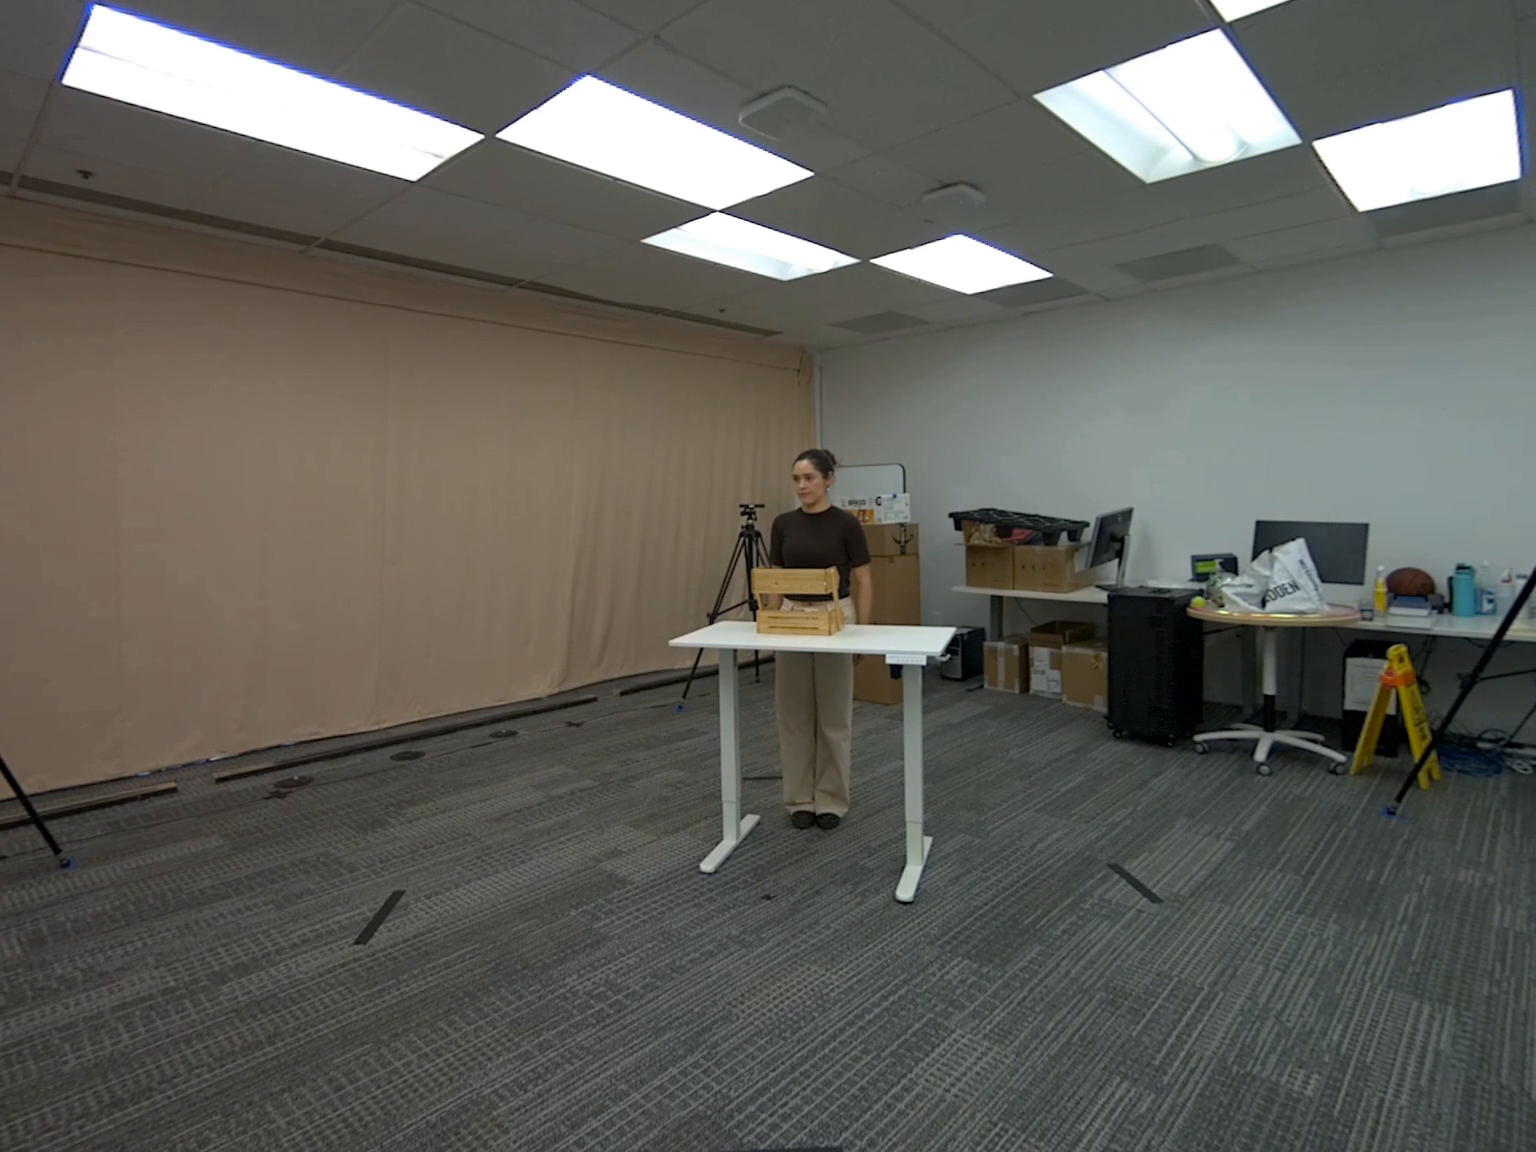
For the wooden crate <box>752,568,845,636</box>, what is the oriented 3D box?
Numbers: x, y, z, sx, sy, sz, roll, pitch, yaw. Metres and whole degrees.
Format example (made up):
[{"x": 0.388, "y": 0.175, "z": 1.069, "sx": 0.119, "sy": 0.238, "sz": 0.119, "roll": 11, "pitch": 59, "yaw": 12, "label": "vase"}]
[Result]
[{"x": 0.127, "y": 0.090, "z": 3.378, "sx": 0.331, "sy": 0.273, "sz": 0.296, "roll": 0, "pitch": 4, "yaw": 19, "label": "wooden crate"}]
